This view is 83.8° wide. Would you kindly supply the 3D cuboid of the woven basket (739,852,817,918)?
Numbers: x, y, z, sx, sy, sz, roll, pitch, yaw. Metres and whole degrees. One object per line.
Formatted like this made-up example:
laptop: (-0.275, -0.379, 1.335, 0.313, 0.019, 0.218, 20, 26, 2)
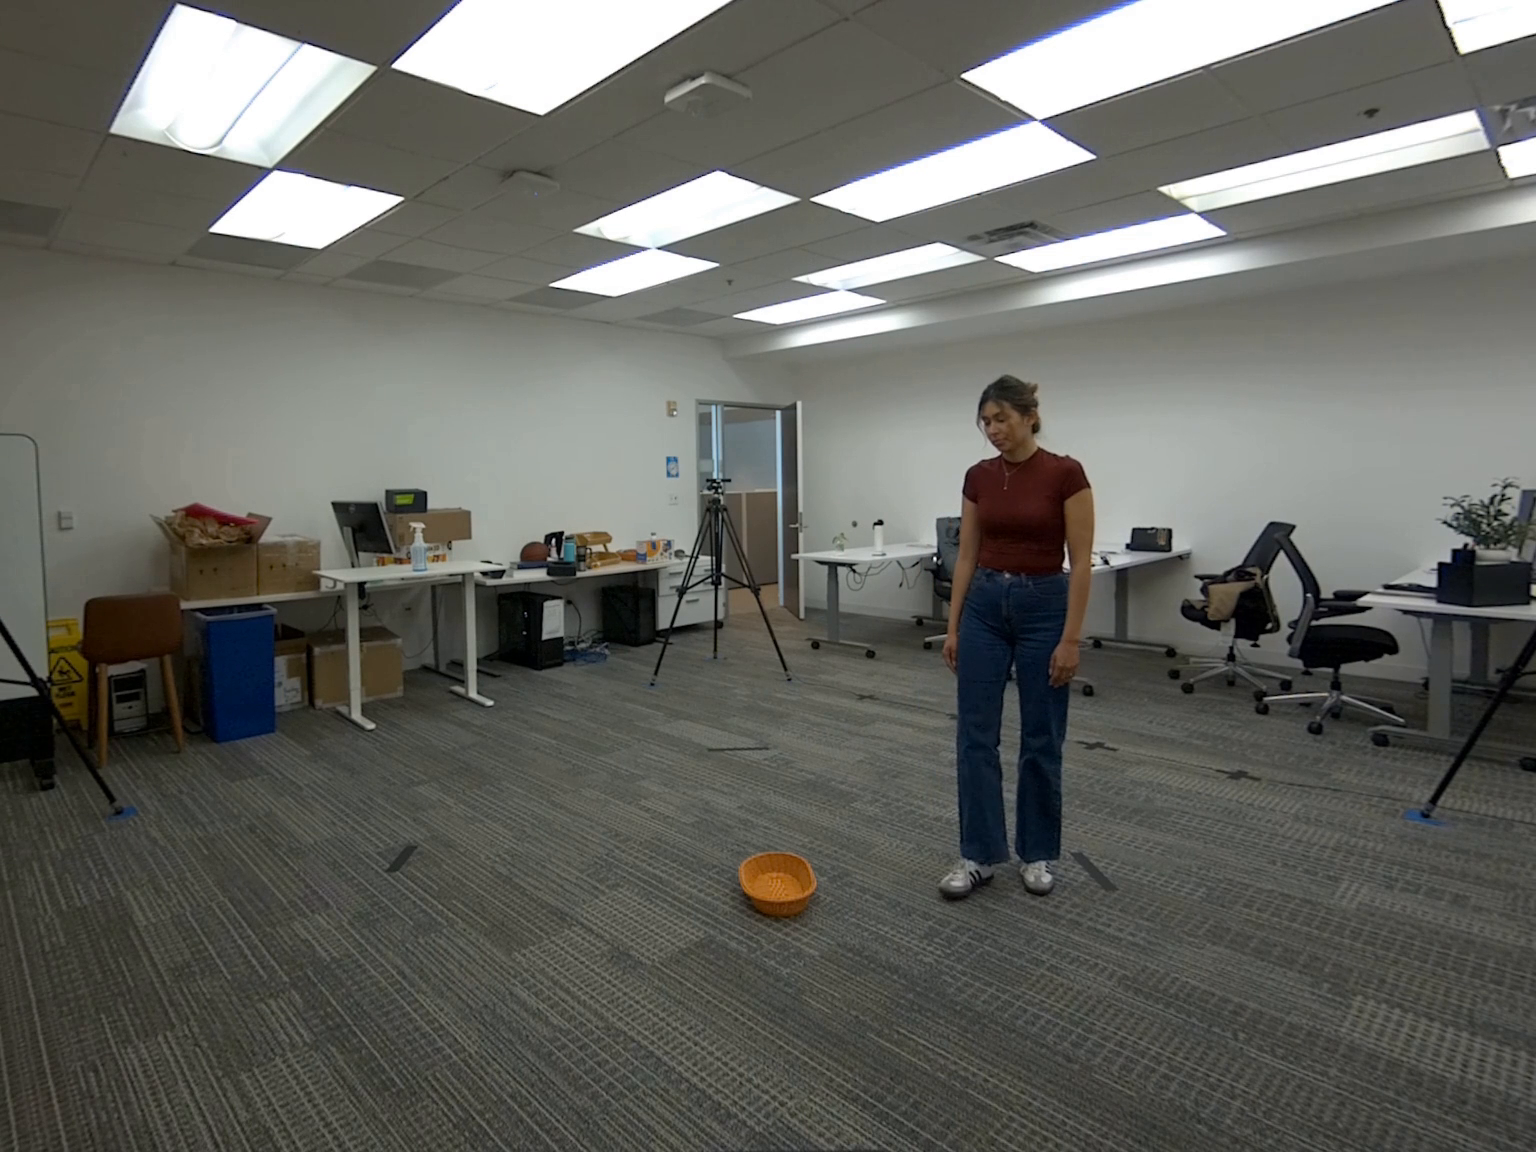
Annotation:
woven basket: (0.035, 1.034, 2.863, 0.252, 0.073, 0.353, -2, 7, -4)
